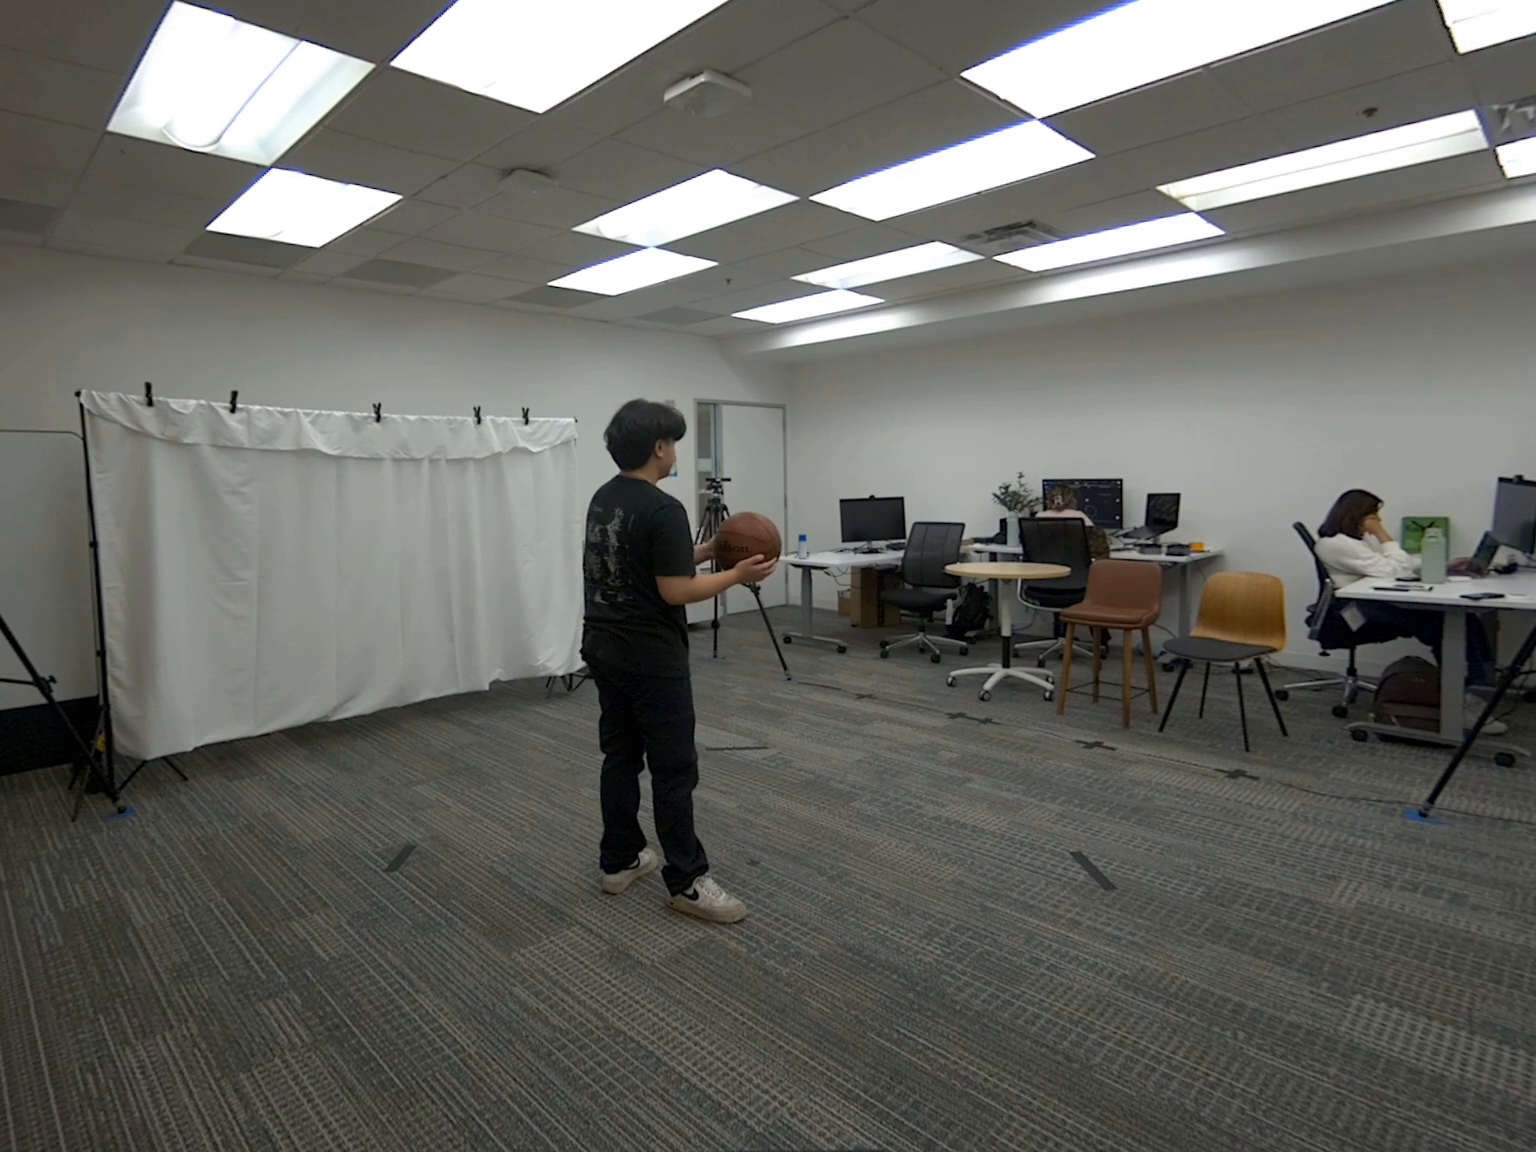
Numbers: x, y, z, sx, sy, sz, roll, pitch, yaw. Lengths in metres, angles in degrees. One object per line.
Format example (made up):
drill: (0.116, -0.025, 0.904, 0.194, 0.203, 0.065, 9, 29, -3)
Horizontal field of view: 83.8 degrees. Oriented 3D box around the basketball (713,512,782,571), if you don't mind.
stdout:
basketball: (-0.077, -0.105, 2.986, 0.236, 0.235, 0.237, -1, 5, -2)
